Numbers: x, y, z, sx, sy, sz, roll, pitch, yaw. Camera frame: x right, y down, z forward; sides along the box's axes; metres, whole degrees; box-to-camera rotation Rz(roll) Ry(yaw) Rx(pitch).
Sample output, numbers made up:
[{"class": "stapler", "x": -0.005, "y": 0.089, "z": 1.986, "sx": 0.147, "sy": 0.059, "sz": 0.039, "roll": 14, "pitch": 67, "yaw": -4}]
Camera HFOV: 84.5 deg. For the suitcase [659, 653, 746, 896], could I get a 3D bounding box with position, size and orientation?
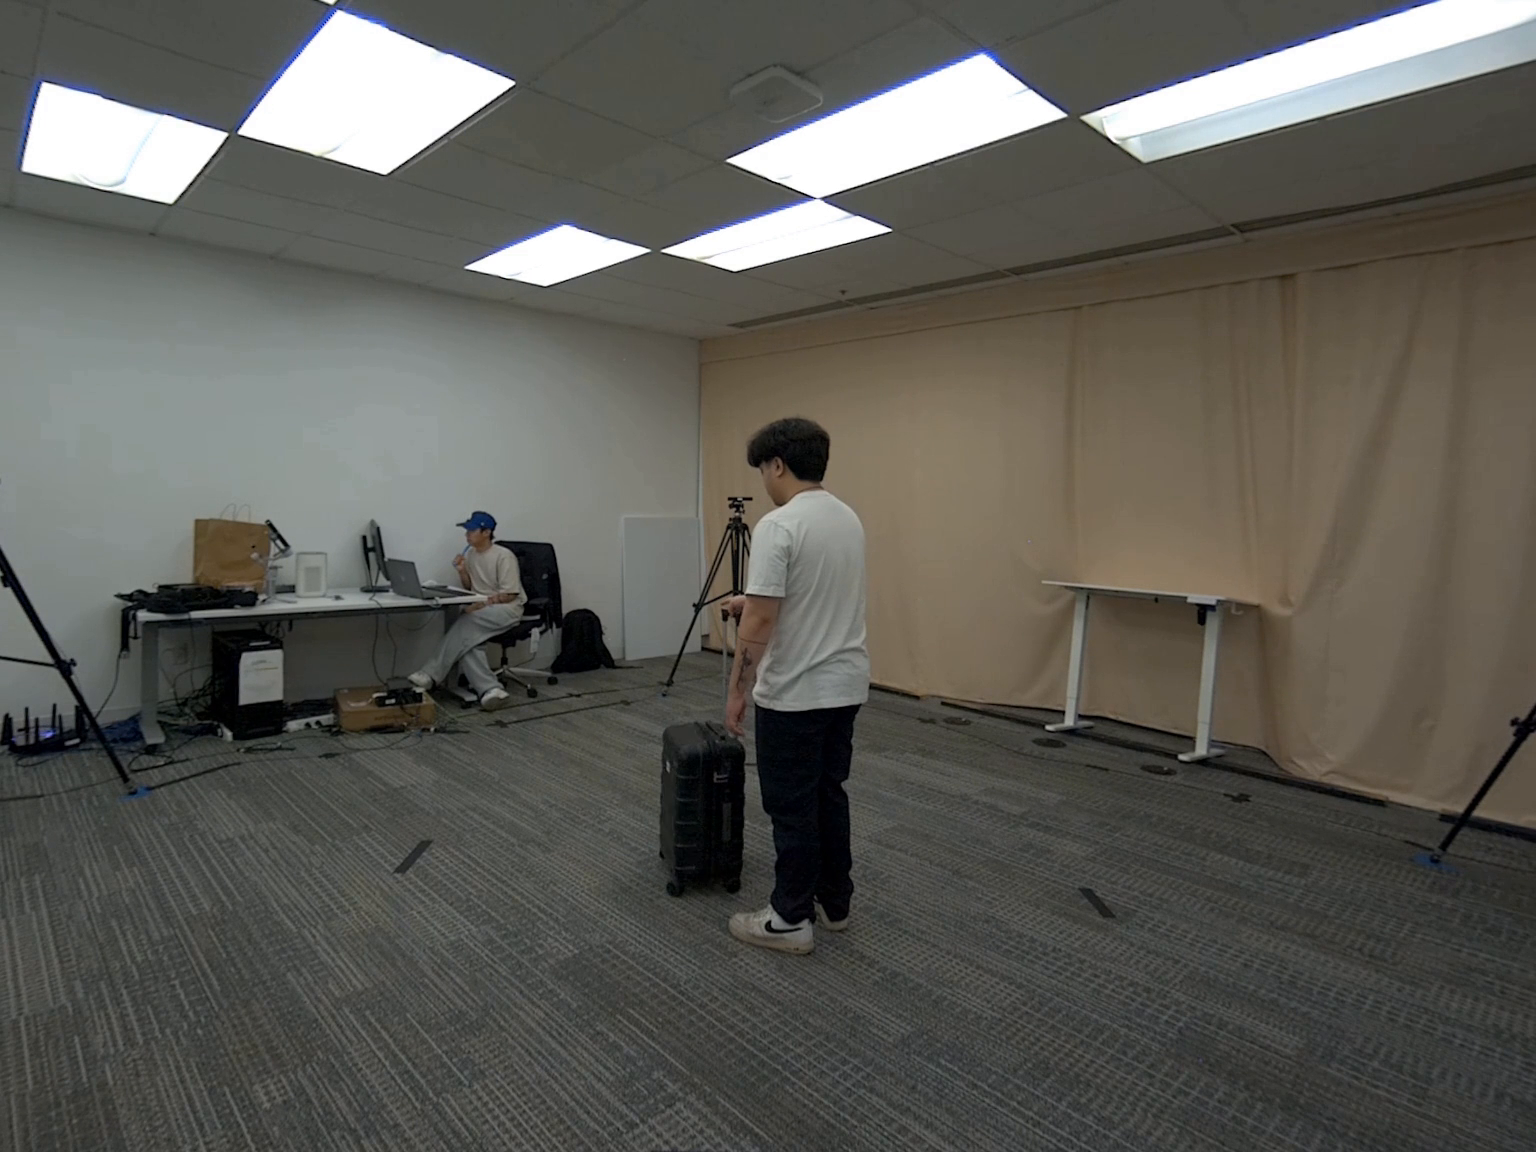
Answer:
[{"class": "suitcase", "x": -0.253, "y": 0.633, "z": 3.084, "sx": 0.254, "sy": 0.977, "sz": 0.389, "roll": -1, "pitch": 3, "yaw": -15}]
